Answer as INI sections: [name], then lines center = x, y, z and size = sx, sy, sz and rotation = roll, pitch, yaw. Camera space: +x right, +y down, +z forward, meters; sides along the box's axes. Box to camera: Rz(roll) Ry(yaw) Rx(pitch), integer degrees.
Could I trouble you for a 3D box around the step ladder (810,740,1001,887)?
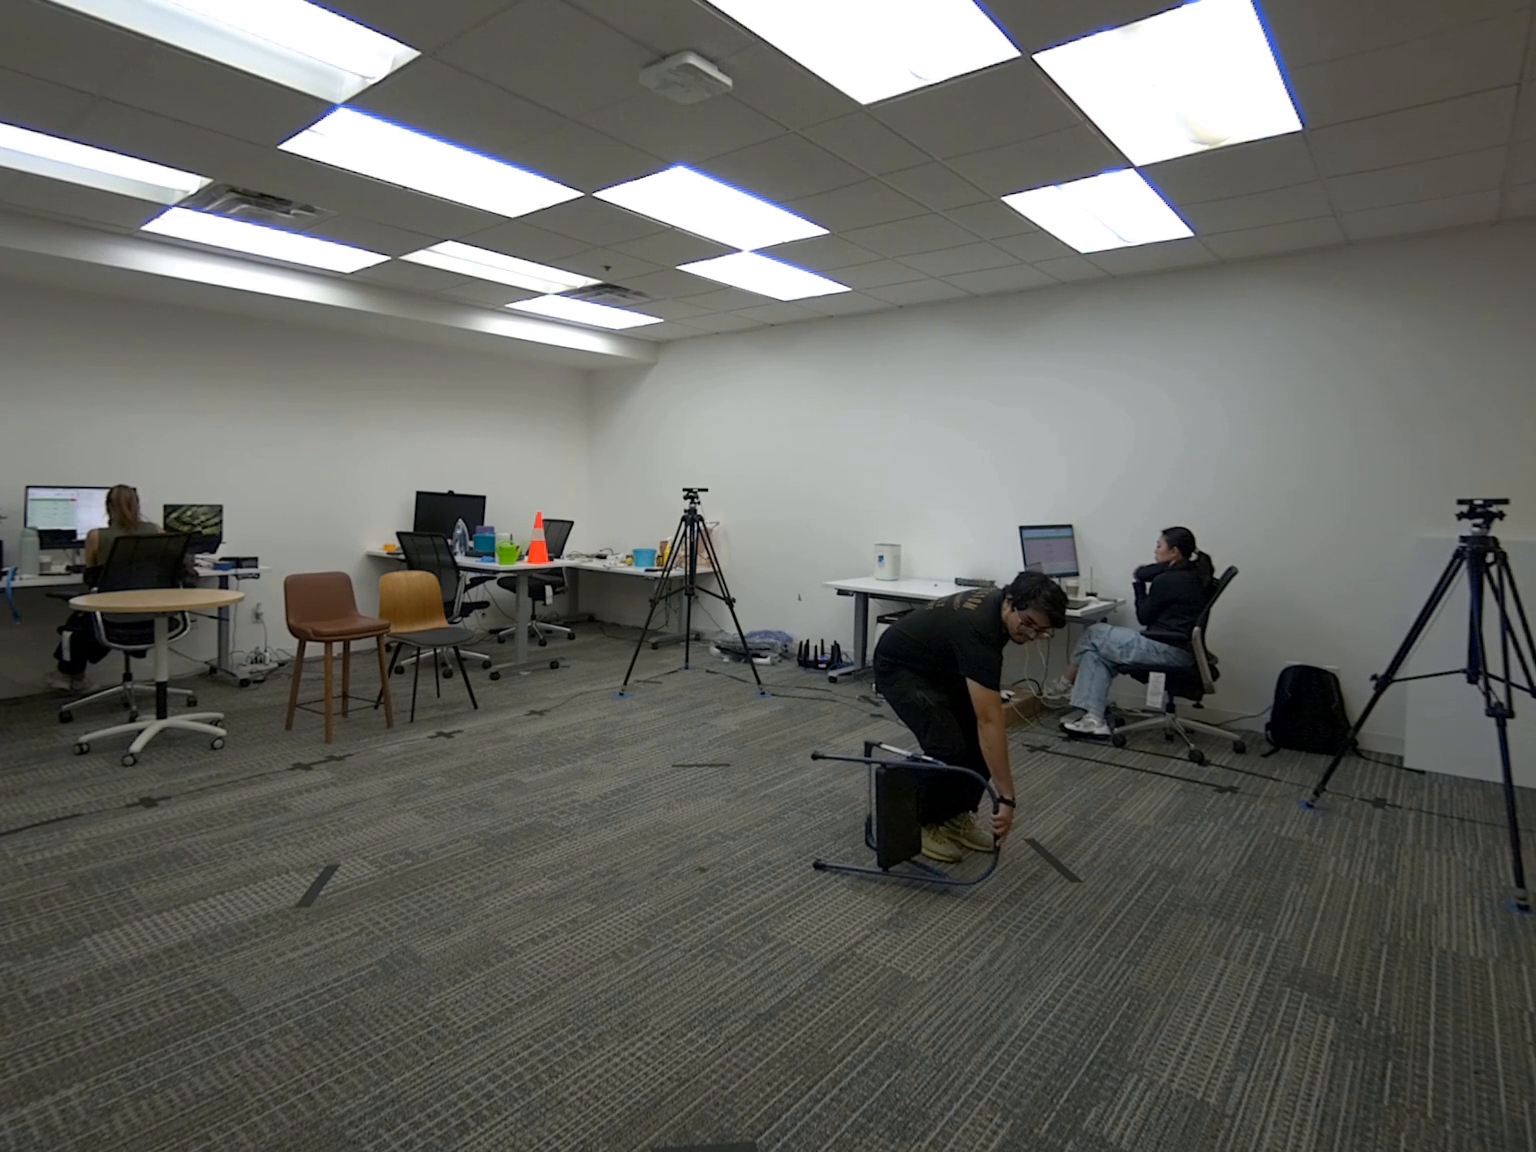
[step ladder]
center = 0.497, 0.858, 3.047
size = 0.625, 0.430, 0.338
rotation = 1, 2, 43
